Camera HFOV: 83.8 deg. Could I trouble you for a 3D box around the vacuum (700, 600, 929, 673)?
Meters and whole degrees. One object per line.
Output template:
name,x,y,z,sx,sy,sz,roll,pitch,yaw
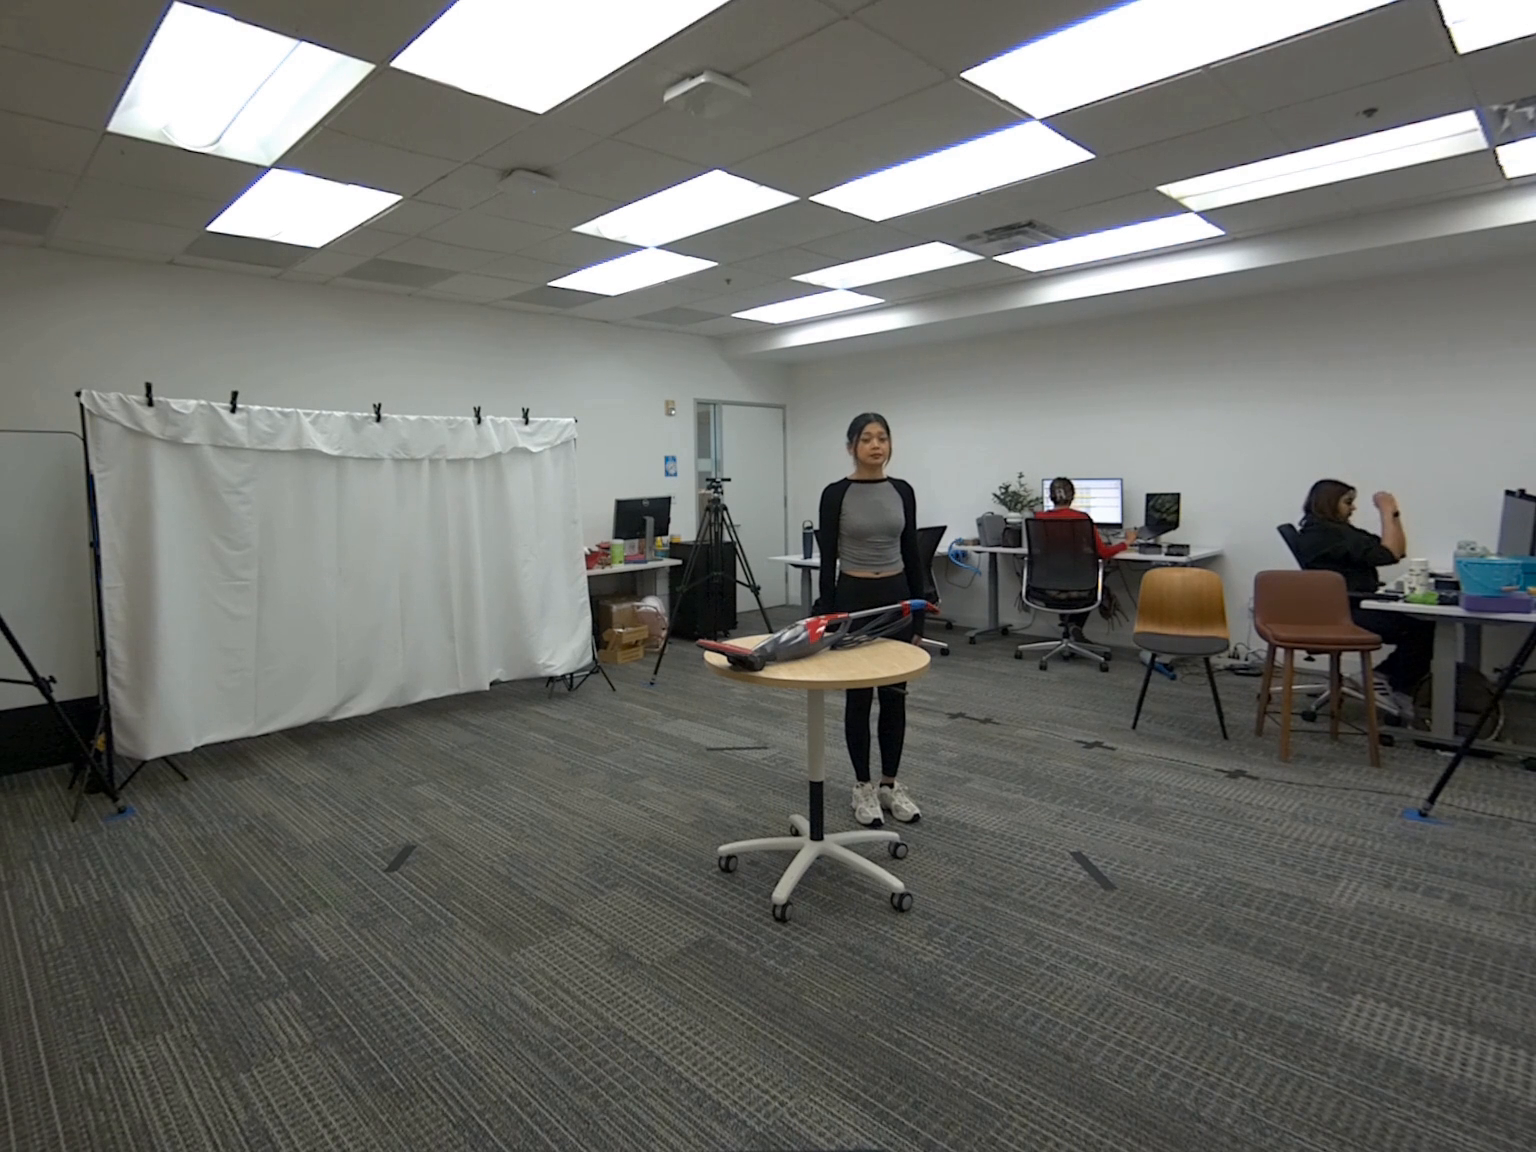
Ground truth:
vacuum,0.270,0.207,3.022,1.023,0.143,0.260,-9,10,-43
